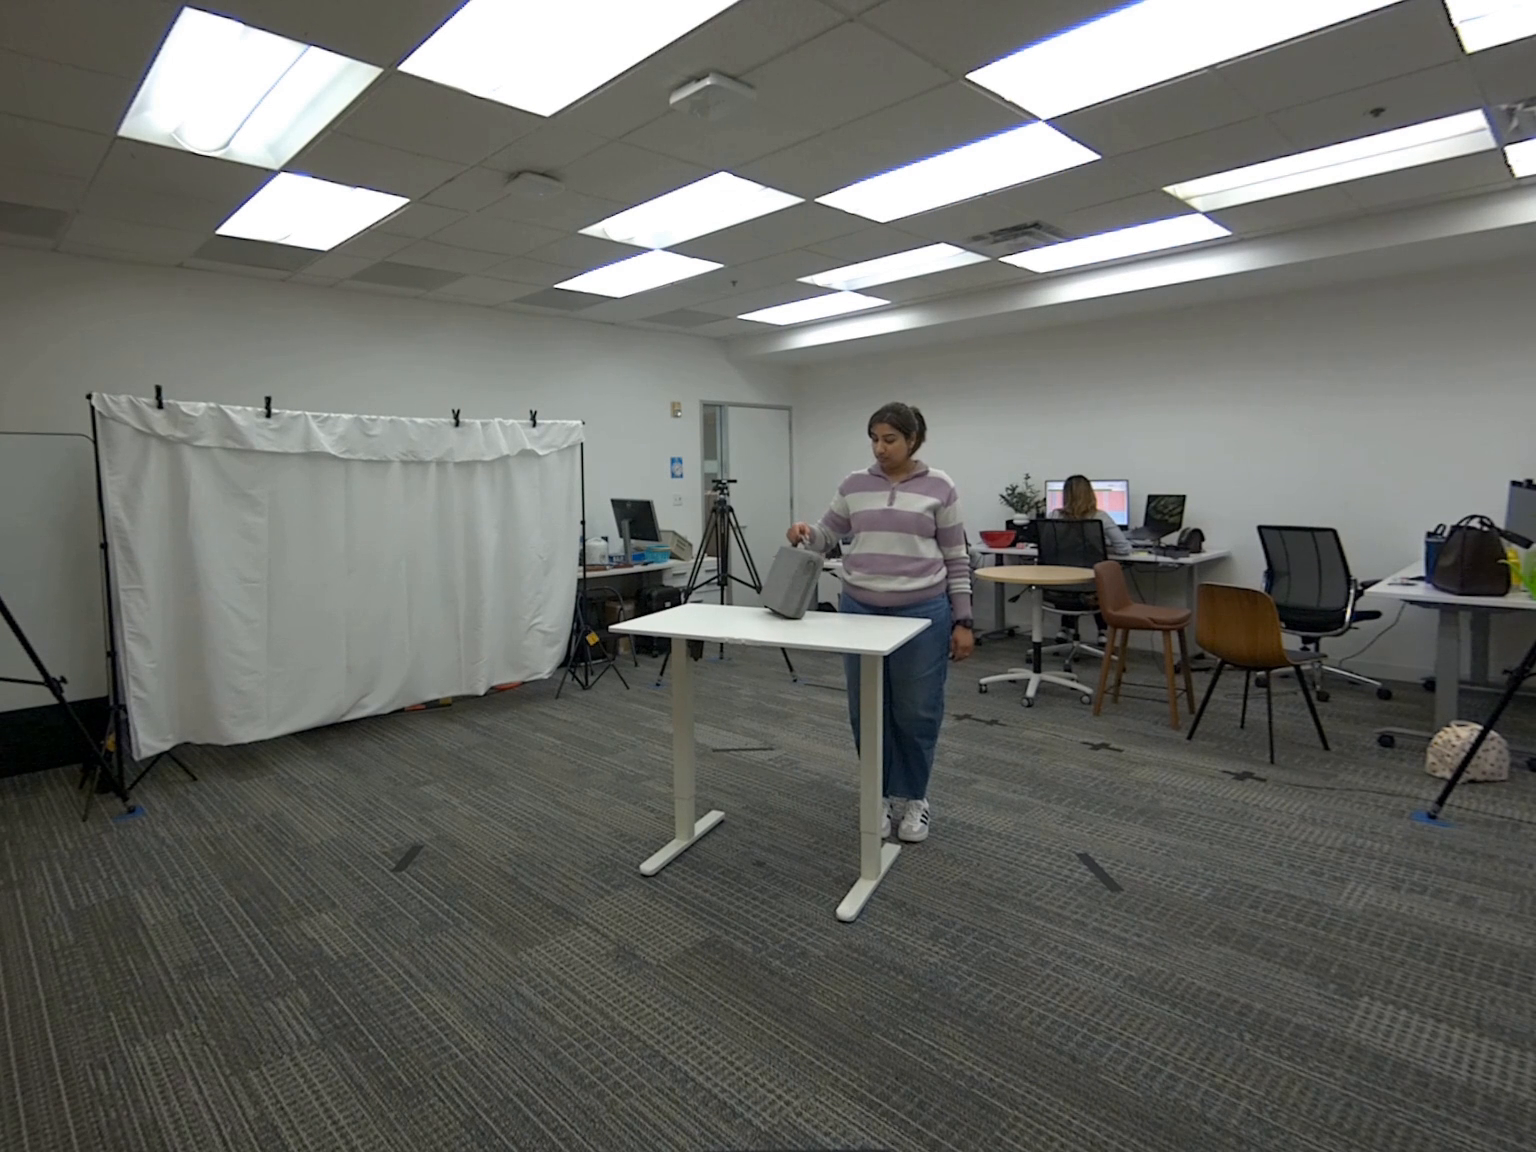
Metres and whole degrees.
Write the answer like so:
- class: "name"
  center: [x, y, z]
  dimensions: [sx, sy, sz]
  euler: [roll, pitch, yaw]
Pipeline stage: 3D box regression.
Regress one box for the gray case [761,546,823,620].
- class: "gray case"
  center: [0.091, 0.014, 3.211]
  dimensions: [0.102, 0.261, 0.262]
  euler: [19, -2, -19]
